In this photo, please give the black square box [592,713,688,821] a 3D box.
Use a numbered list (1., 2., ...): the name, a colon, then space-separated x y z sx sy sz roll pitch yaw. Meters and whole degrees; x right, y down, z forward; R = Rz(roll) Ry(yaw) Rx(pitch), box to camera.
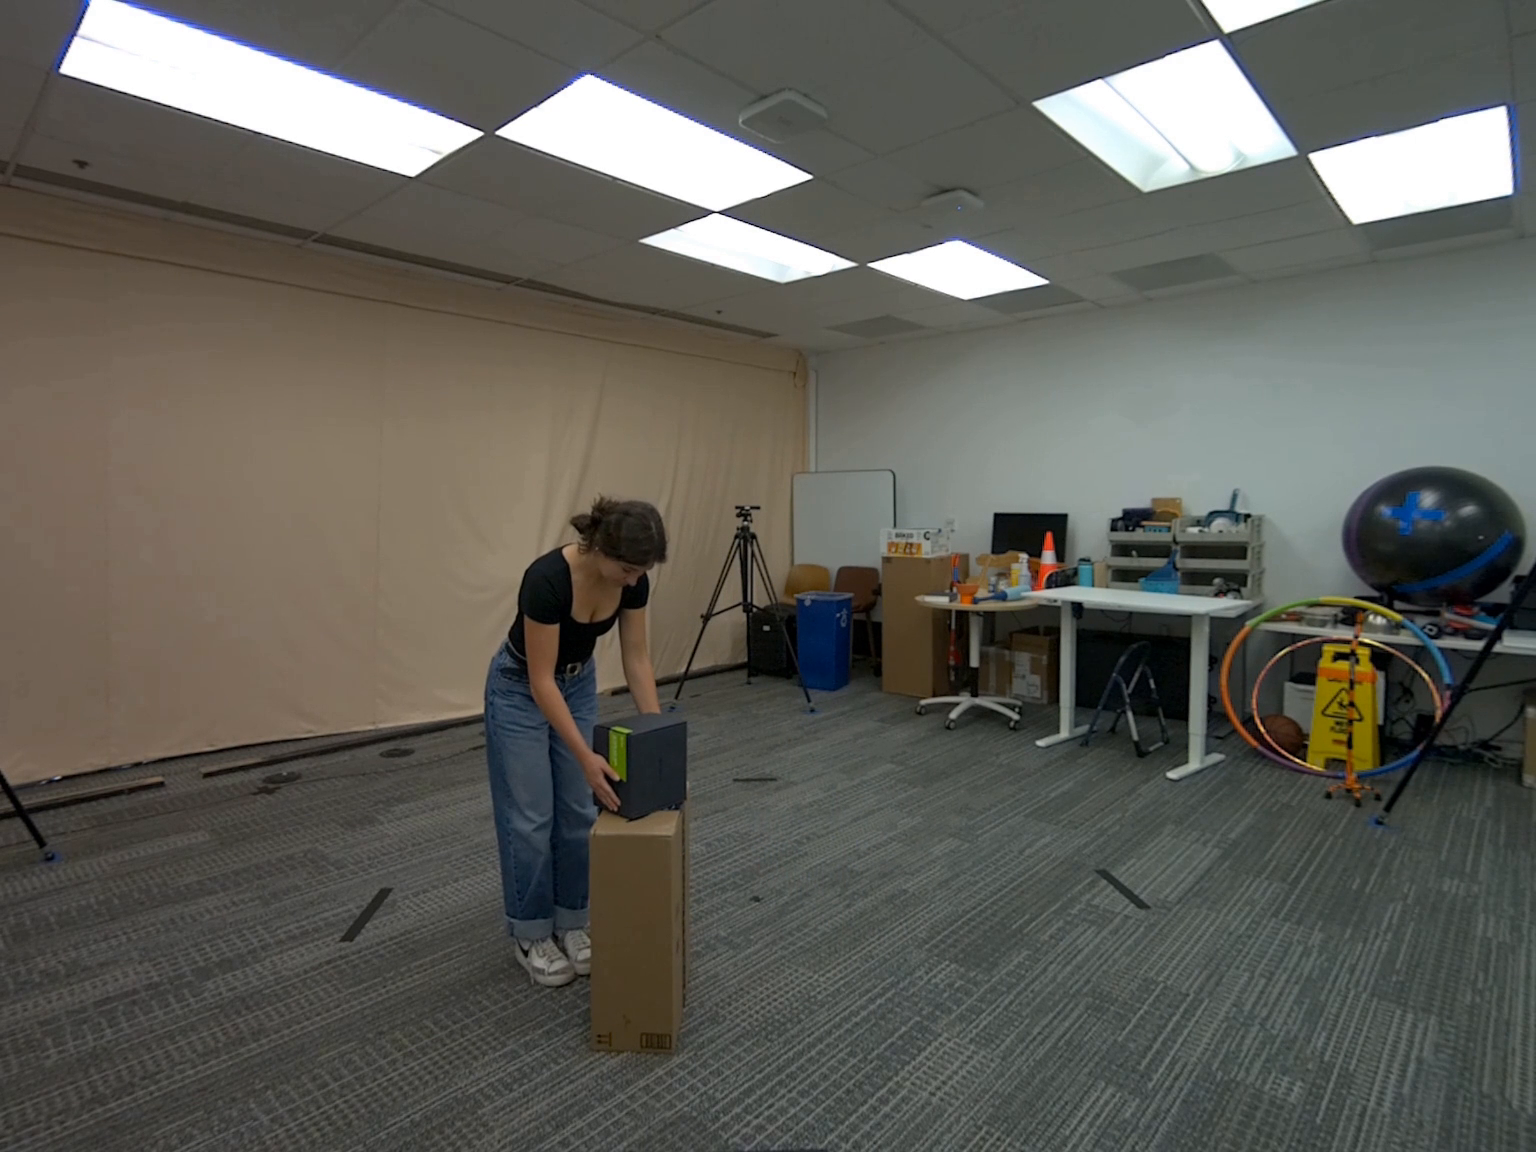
1. black square box: -0.350 0.515 2.336 0.161 0.227 0.210 4 5 41
